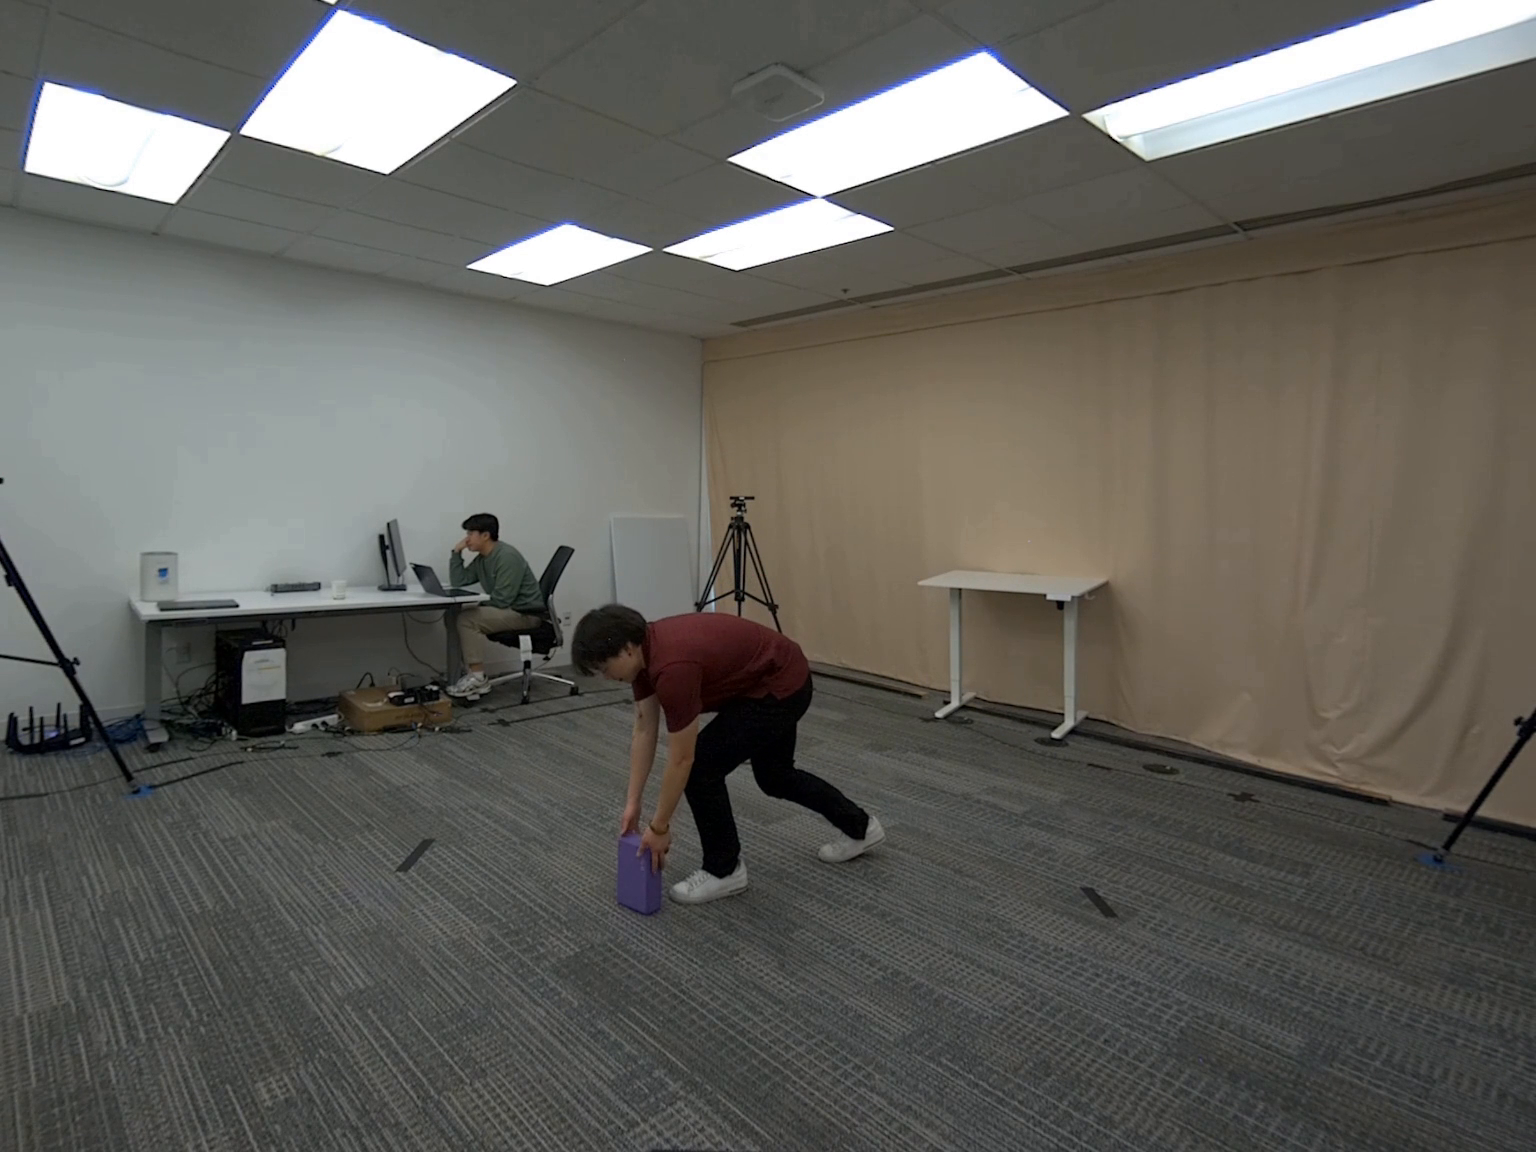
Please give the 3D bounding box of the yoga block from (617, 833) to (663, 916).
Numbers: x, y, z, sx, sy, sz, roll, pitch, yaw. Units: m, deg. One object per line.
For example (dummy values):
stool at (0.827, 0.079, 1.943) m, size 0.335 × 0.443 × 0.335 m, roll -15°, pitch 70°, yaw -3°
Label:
yoga block at (-0.441, 1.010, 2.844) m, size 0.152 × 0.229 × 0.075 m, roll 4°, pitch 3°, yaw 36°
